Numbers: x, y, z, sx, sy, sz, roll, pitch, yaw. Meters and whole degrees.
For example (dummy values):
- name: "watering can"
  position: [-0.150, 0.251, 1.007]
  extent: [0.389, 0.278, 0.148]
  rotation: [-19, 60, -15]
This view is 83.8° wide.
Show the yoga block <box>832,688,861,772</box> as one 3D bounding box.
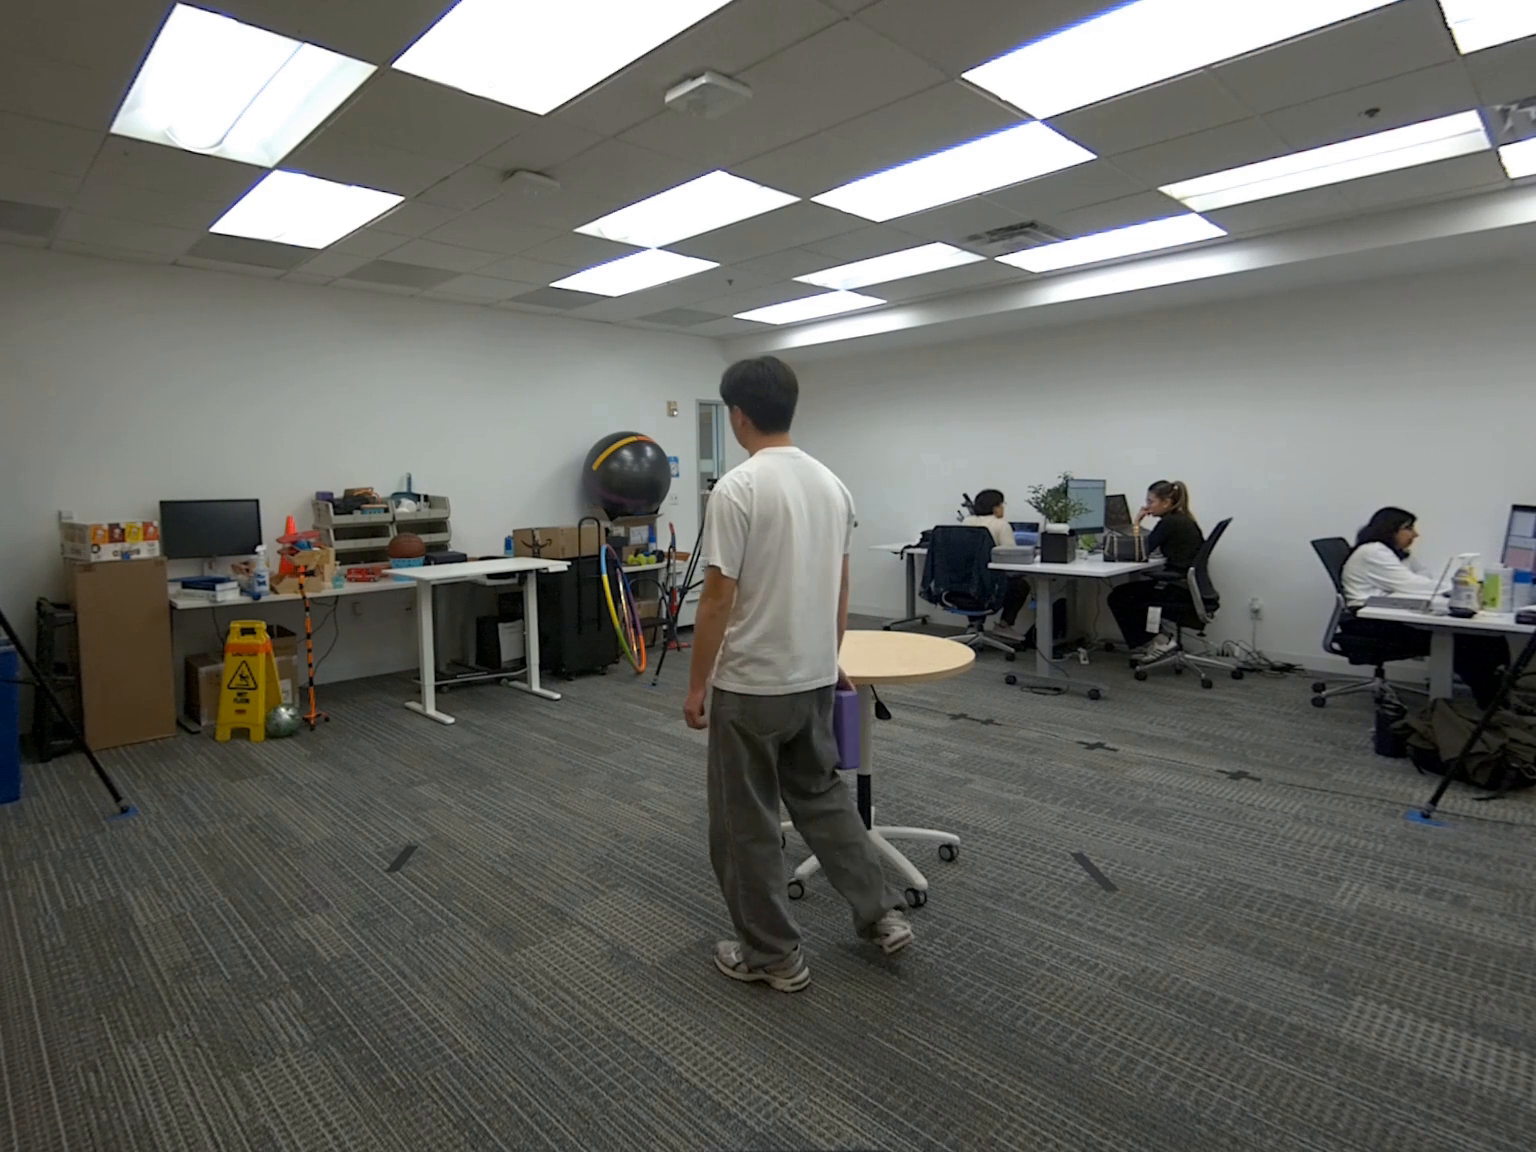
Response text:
- name: "yoga block"
  position: [0.214, 0.467, 2.620]
  extent: [0.074, 0.230, 0.153]
  rotation: [0, -3, -43]
